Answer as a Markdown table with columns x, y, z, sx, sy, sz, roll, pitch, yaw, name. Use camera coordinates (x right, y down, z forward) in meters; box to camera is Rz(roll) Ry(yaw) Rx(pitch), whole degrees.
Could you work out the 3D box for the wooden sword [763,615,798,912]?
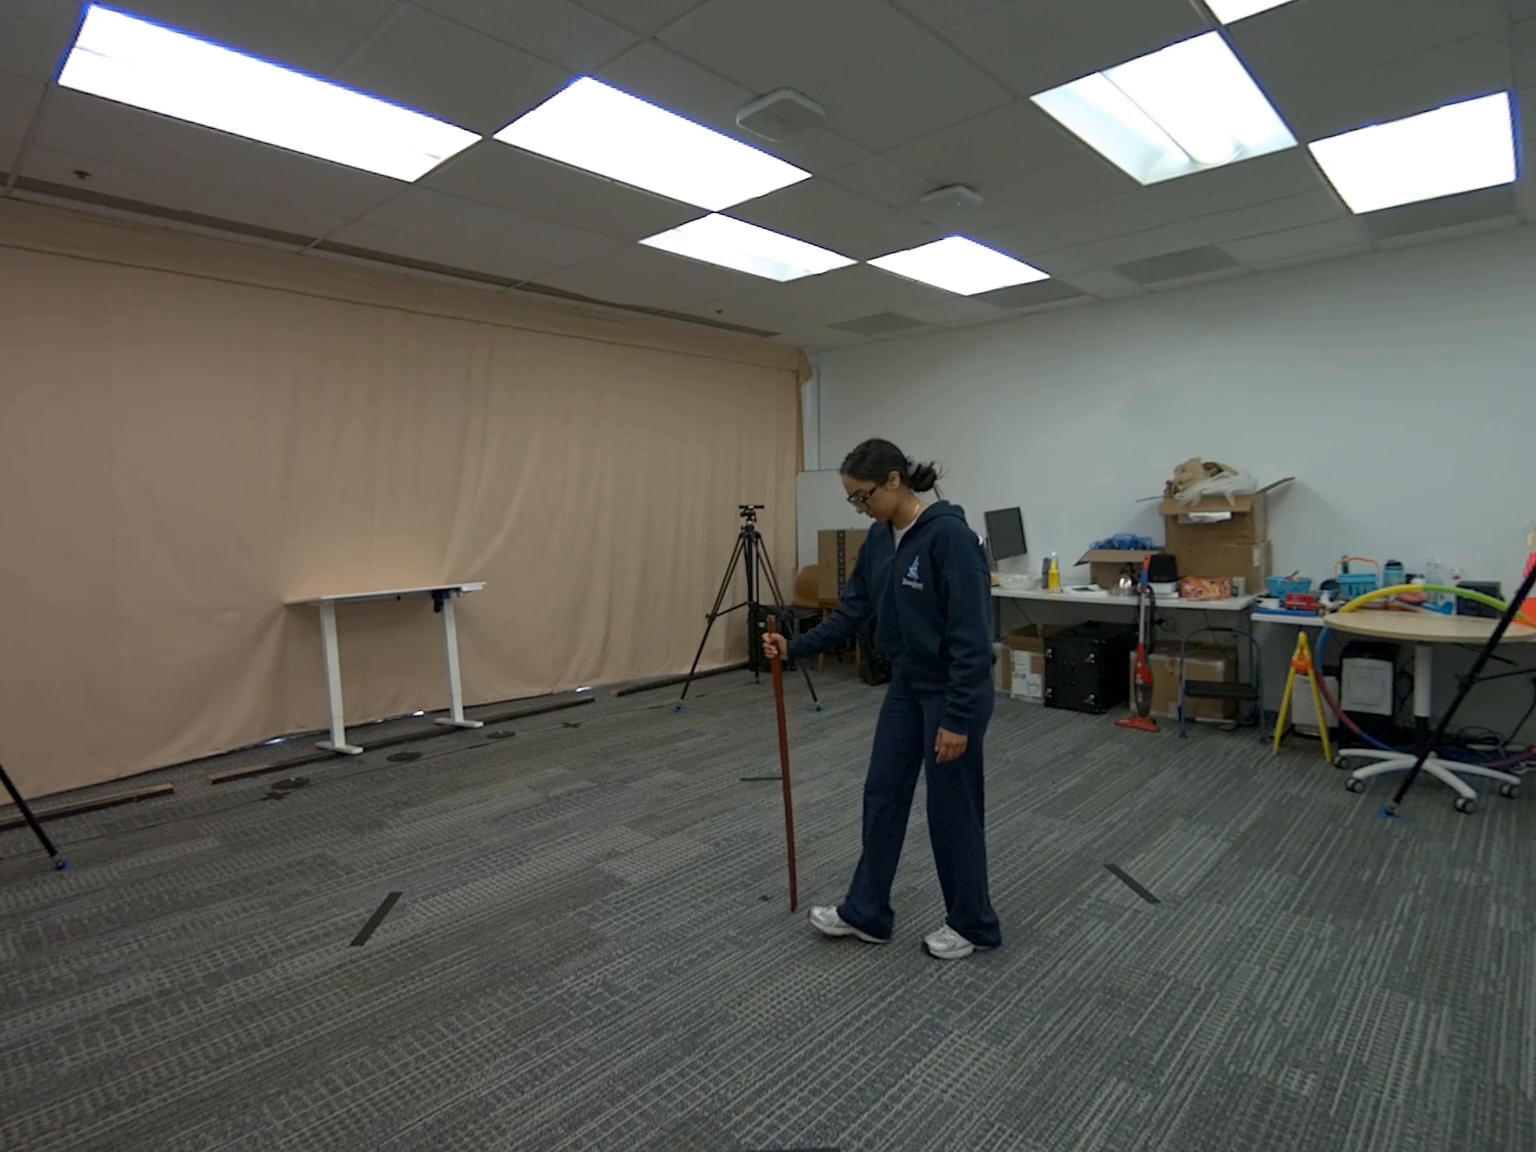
| x | y | z | sx | sy | sz | roll | pitch | yaw | name |
| --- | --- | --- | --- | --- | --- | --- | --- | --- | --- |
| 0.055 | 0.658 | 2.820 | 0.053 | 1.019 | 0.023 | -1 | 8 | 33 | wooden sword |
